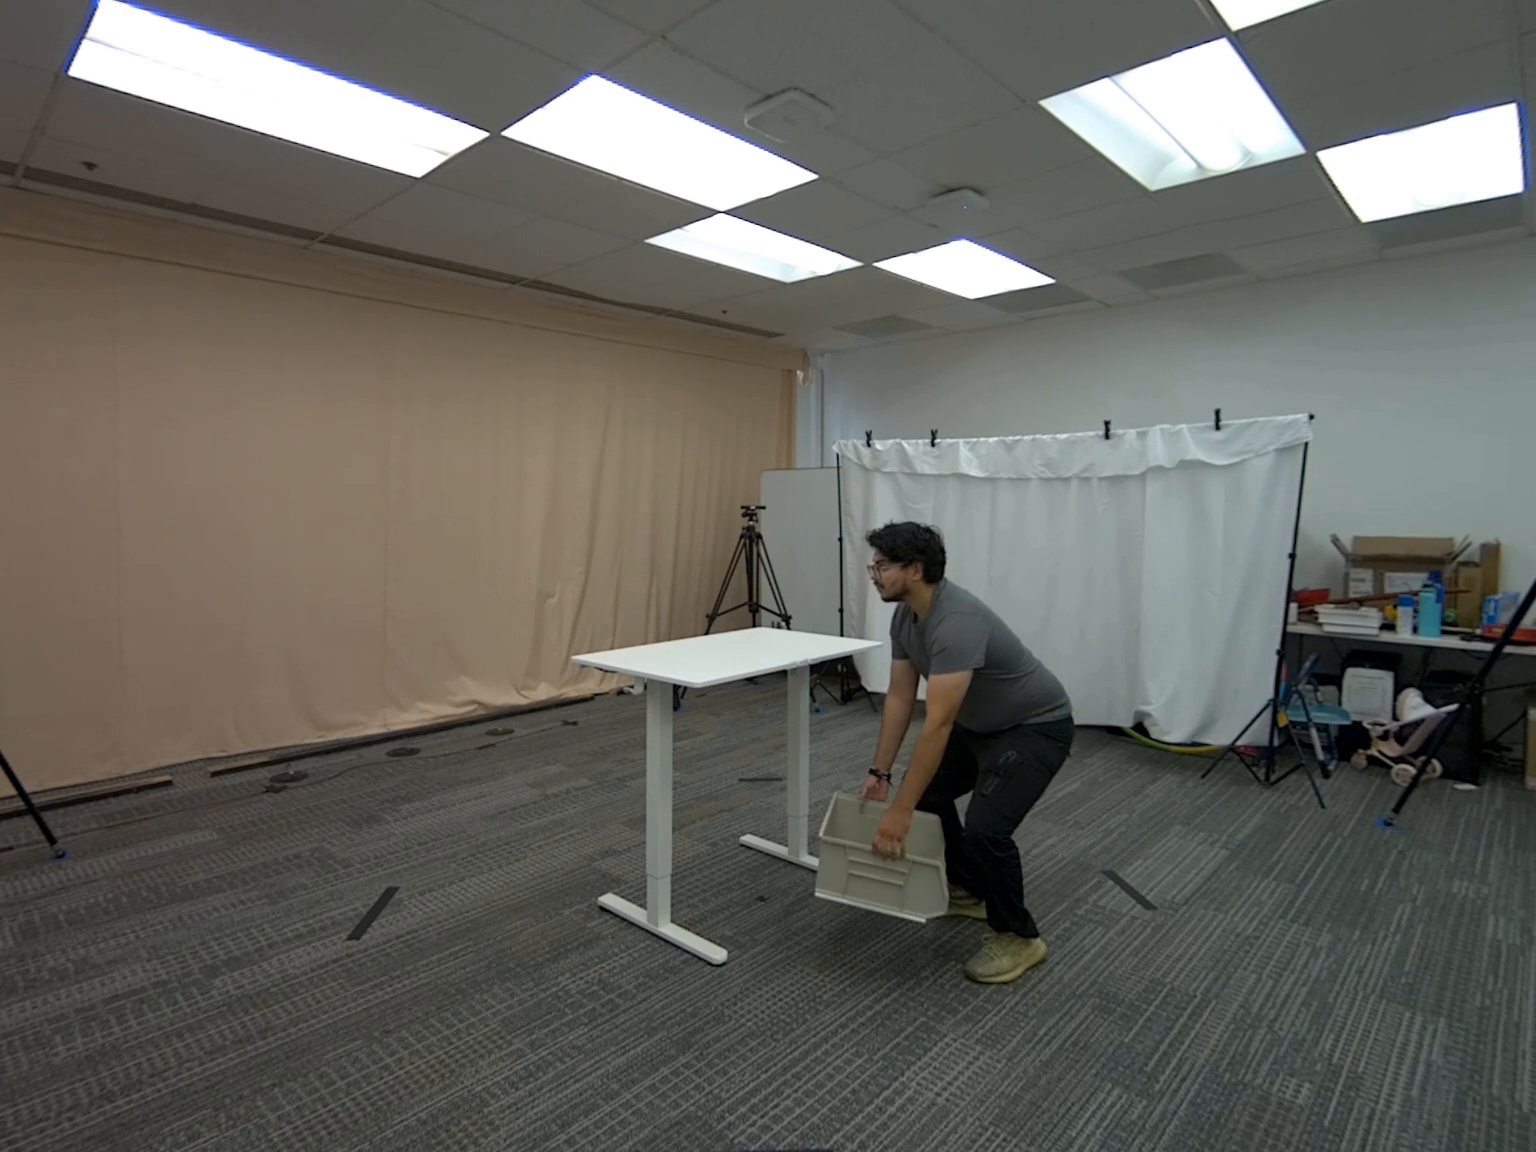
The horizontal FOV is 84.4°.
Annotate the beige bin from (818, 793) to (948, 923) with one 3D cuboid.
[{"bbox_3d":[0.384,0.852,2.560,0.381,0.188,0.419,5,4,8],"label":"beige bin"}]
